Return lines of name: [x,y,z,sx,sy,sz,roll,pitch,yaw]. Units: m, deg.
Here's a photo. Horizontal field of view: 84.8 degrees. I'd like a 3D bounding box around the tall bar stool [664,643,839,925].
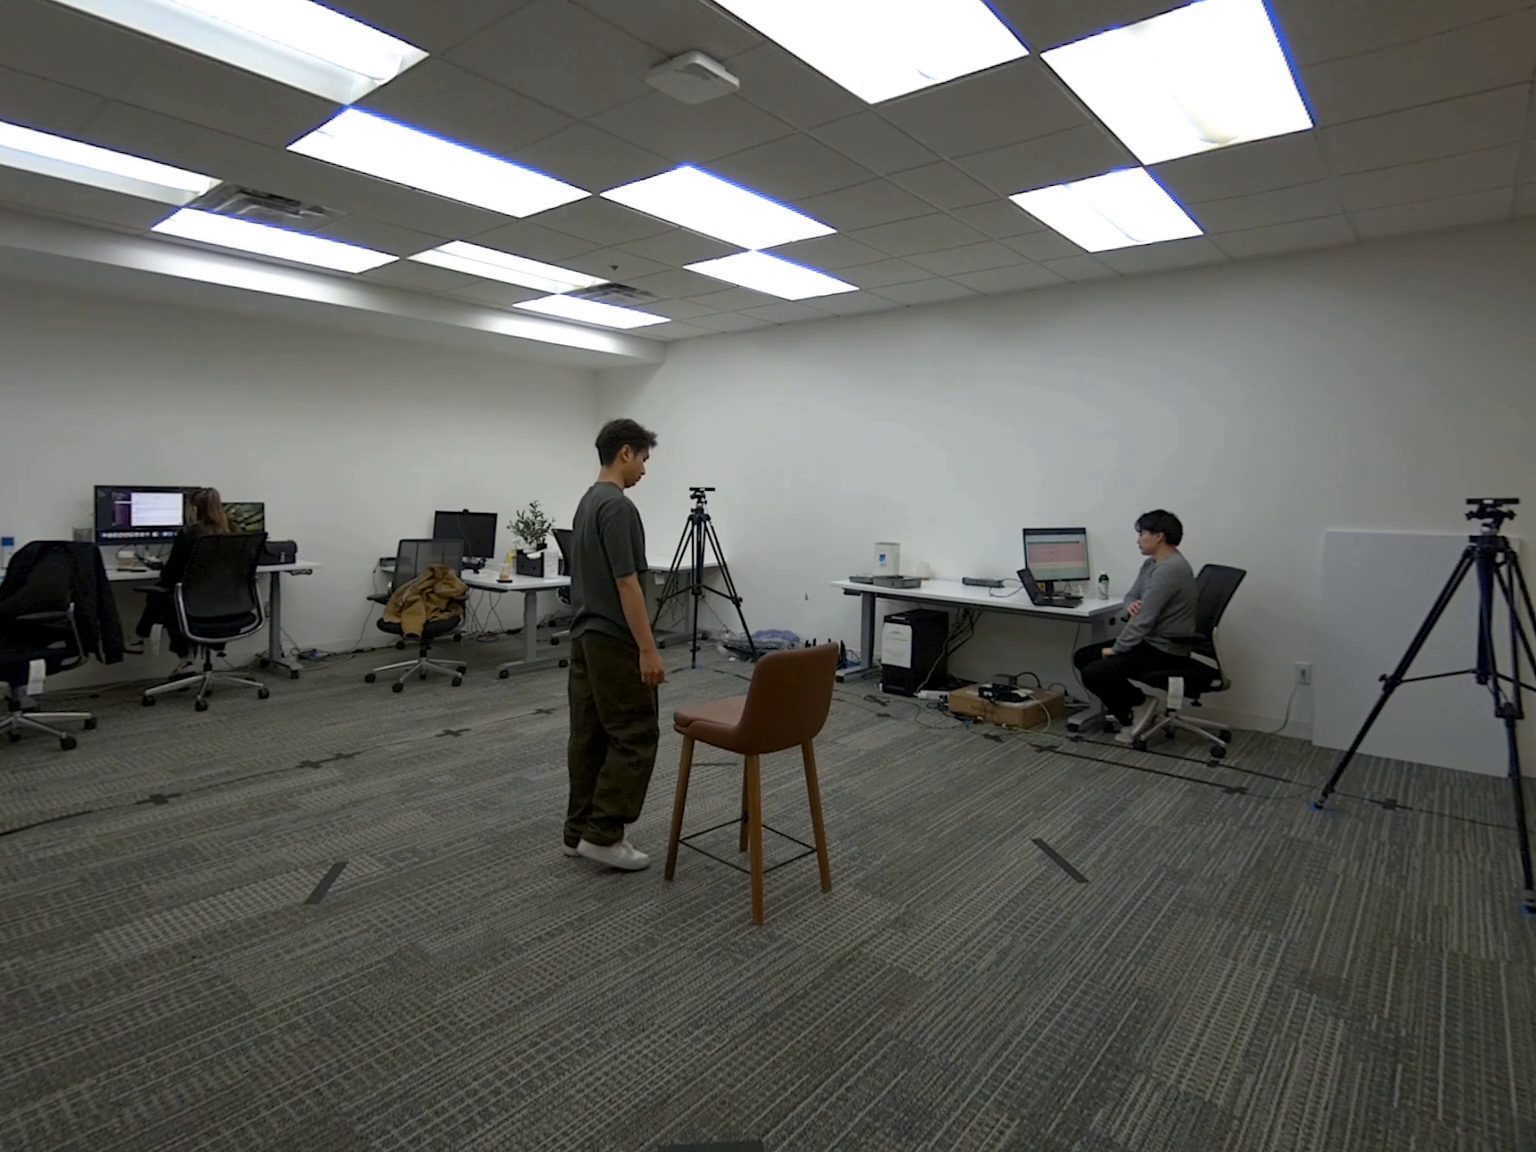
tall bar stool: [-0.060,0.647,2.962,0.484,0.886,0.442,7,6,44]
